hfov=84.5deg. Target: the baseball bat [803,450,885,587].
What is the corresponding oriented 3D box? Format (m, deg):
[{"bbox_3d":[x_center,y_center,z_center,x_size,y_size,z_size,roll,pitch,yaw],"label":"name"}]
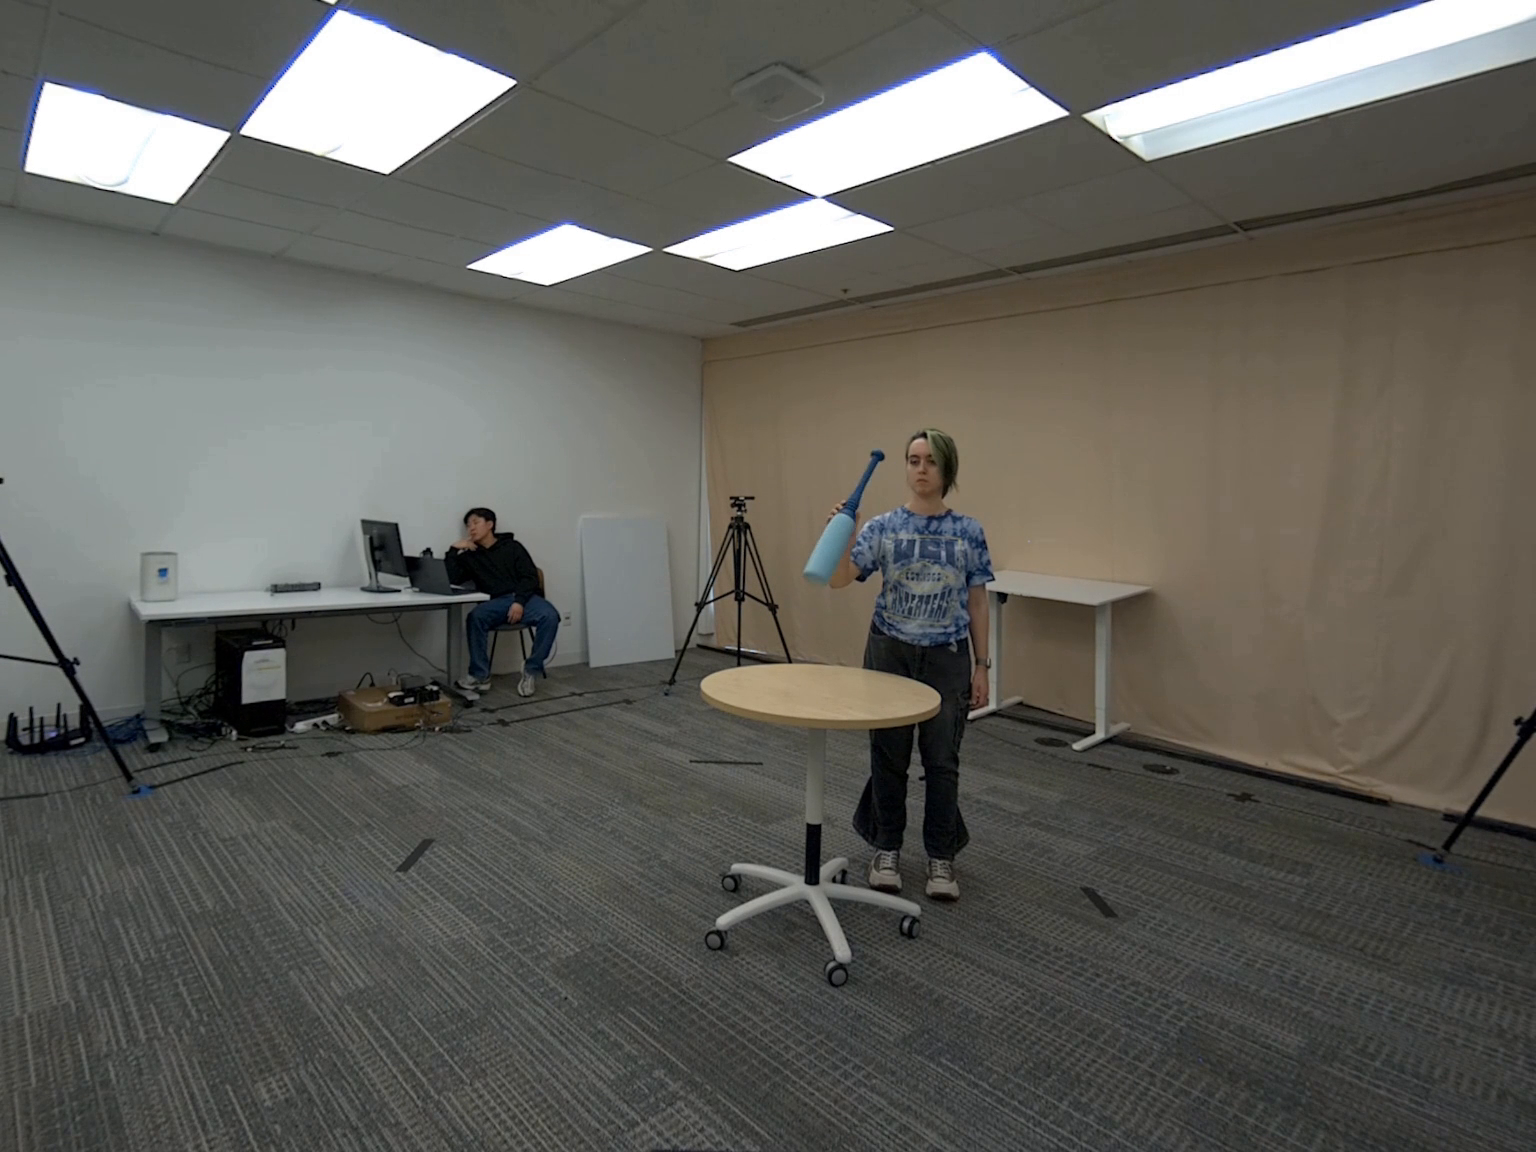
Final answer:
[{"bbox_3d":[0.258,-0.202,2.757,0.090,0.546,0.087,24,-25,10],"label":"baseball bat"}]
